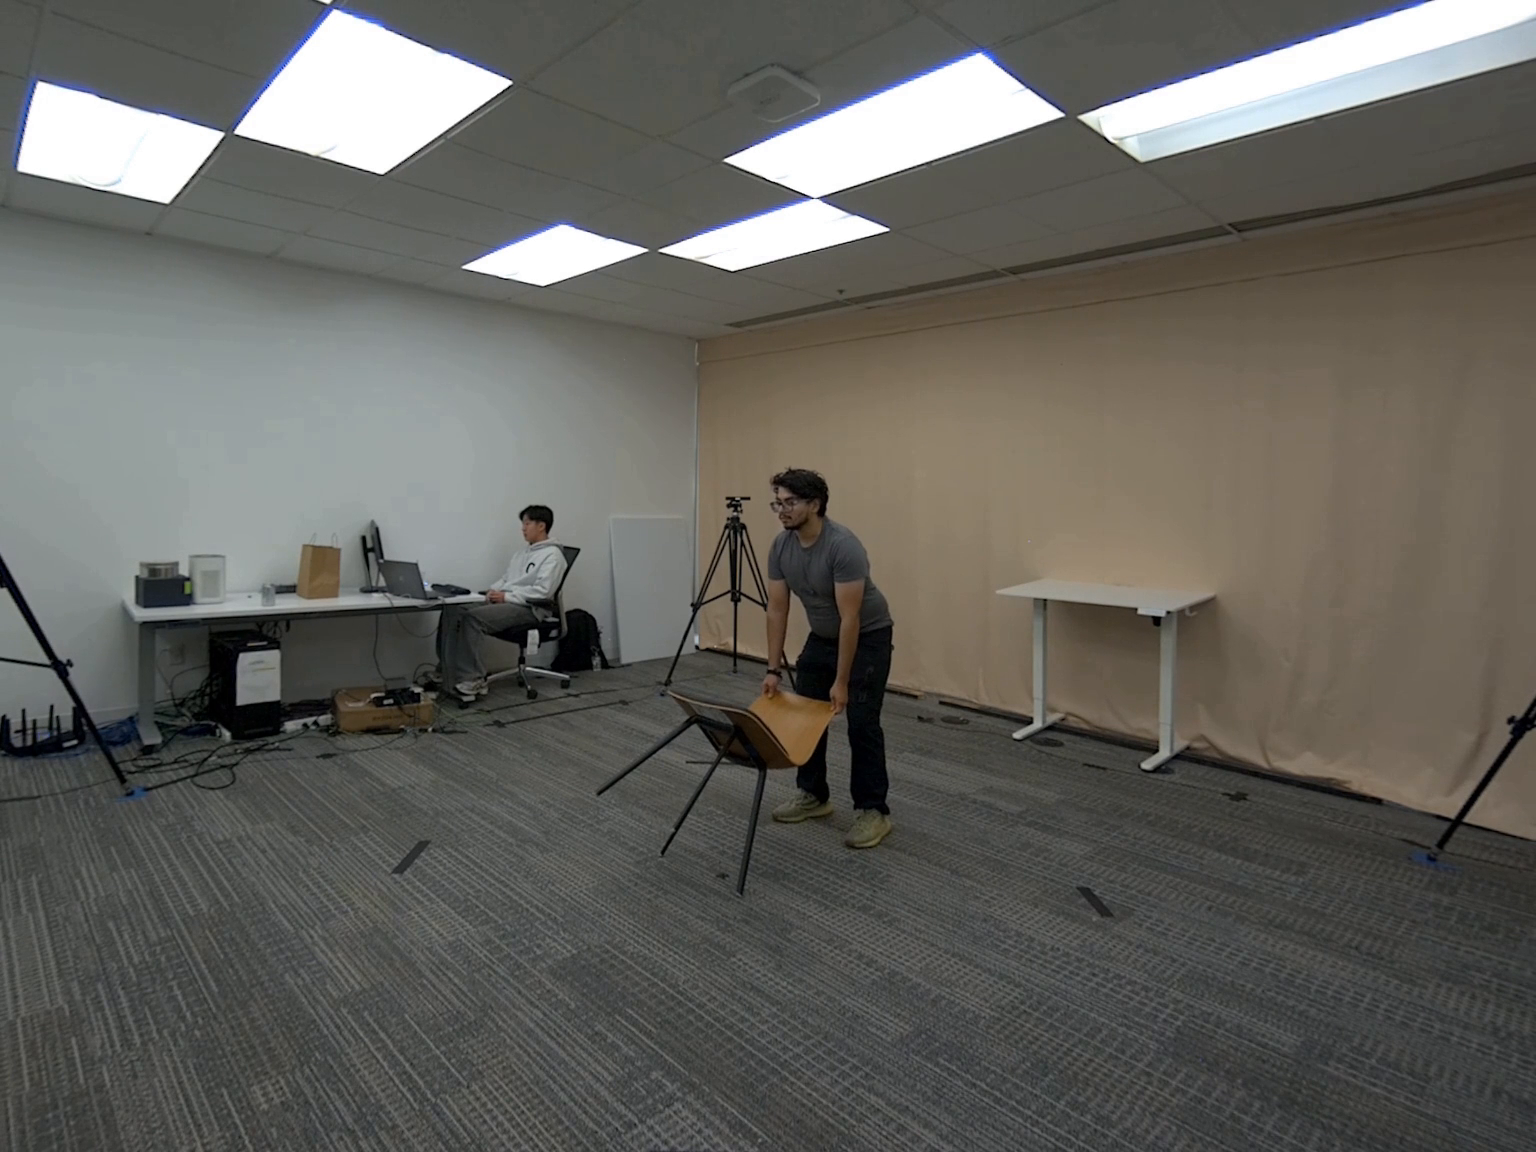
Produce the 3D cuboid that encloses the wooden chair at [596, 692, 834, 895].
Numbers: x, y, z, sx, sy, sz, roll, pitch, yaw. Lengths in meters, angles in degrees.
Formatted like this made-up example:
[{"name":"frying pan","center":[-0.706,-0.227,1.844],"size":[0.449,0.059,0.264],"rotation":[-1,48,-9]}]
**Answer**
[{"name":"wooden chair","center":[-0.155,0.631,3.169],"size":[0.490,0.509,0.879],"rotation":[4,46,45]}]
